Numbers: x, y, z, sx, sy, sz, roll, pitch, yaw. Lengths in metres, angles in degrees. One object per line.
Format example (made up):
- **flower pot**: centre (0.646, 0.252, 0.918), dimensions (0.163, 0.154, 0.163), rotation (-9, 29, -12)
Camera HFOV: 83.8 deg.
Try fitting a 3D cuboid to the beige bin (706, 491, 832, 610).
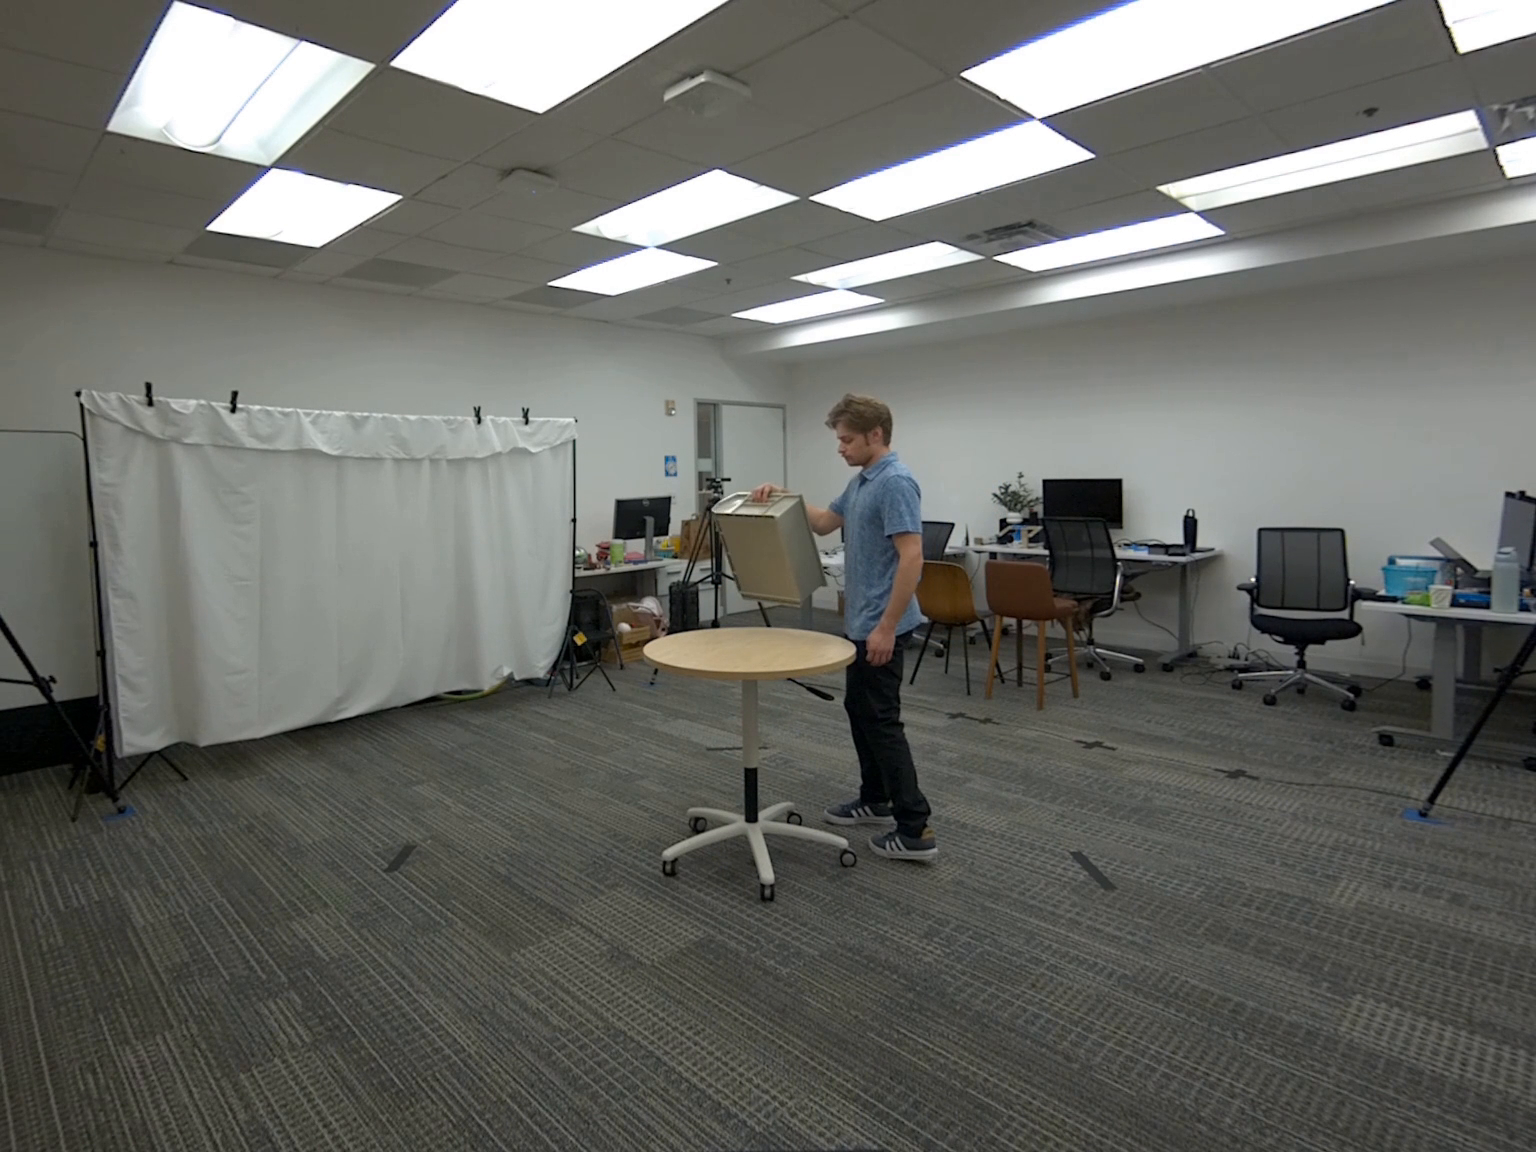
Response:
- **beige bin**: centre (0.002, -0.115, 3.511), dimensions (0.389, 0.412, 0.188), rotation (6, 32, 43)
